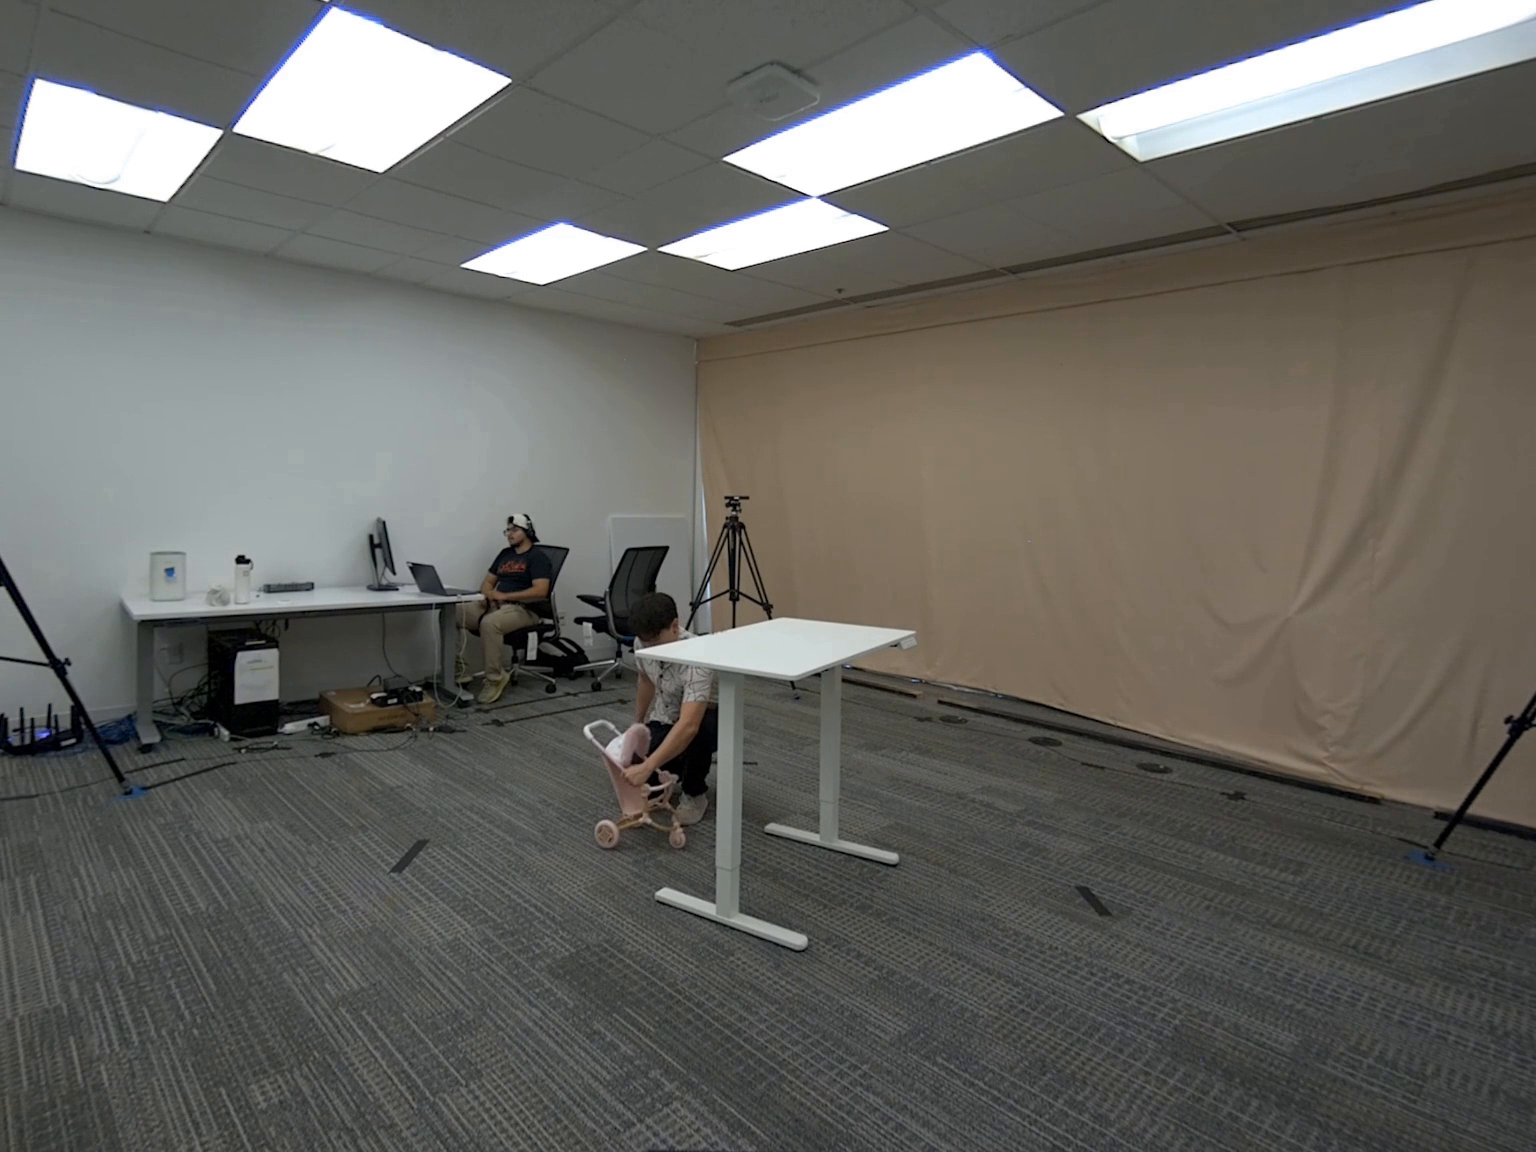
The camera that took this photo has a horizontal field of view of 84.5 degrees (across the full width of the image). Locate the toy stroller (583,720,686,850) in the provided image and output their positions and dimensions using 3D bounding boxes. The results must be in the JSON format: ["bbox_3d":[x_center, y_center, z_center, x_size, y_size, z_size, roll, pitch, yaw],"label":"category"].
[{"bbox_3d":[-0.538,0.842,3.387,0.346,0.537,0.277,-12,-4,22],"label":"toy stroller"}]
